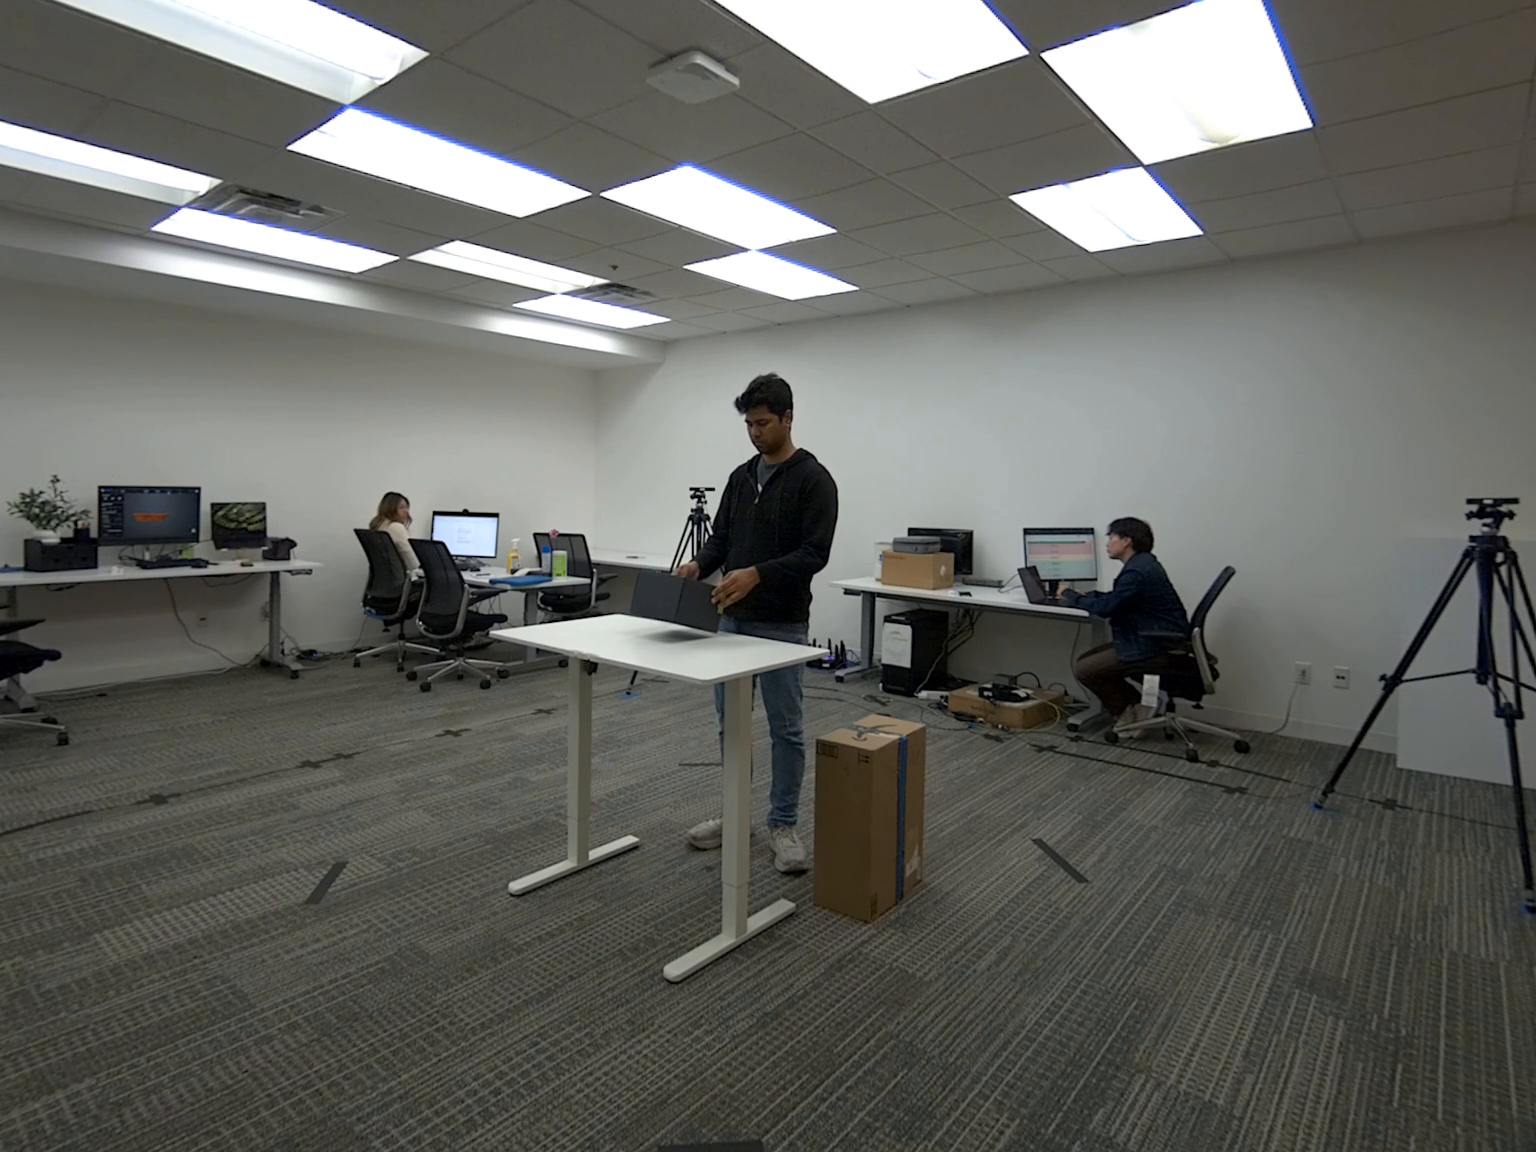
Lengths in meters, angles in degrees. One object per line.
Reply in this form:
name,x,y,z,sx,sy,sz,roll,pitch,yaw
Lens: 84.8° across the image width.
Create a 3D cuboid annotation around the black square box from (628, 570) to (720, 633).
black square box,-0.307,0.083,2.896,0.236,0.156,0.208,8,-8,41
